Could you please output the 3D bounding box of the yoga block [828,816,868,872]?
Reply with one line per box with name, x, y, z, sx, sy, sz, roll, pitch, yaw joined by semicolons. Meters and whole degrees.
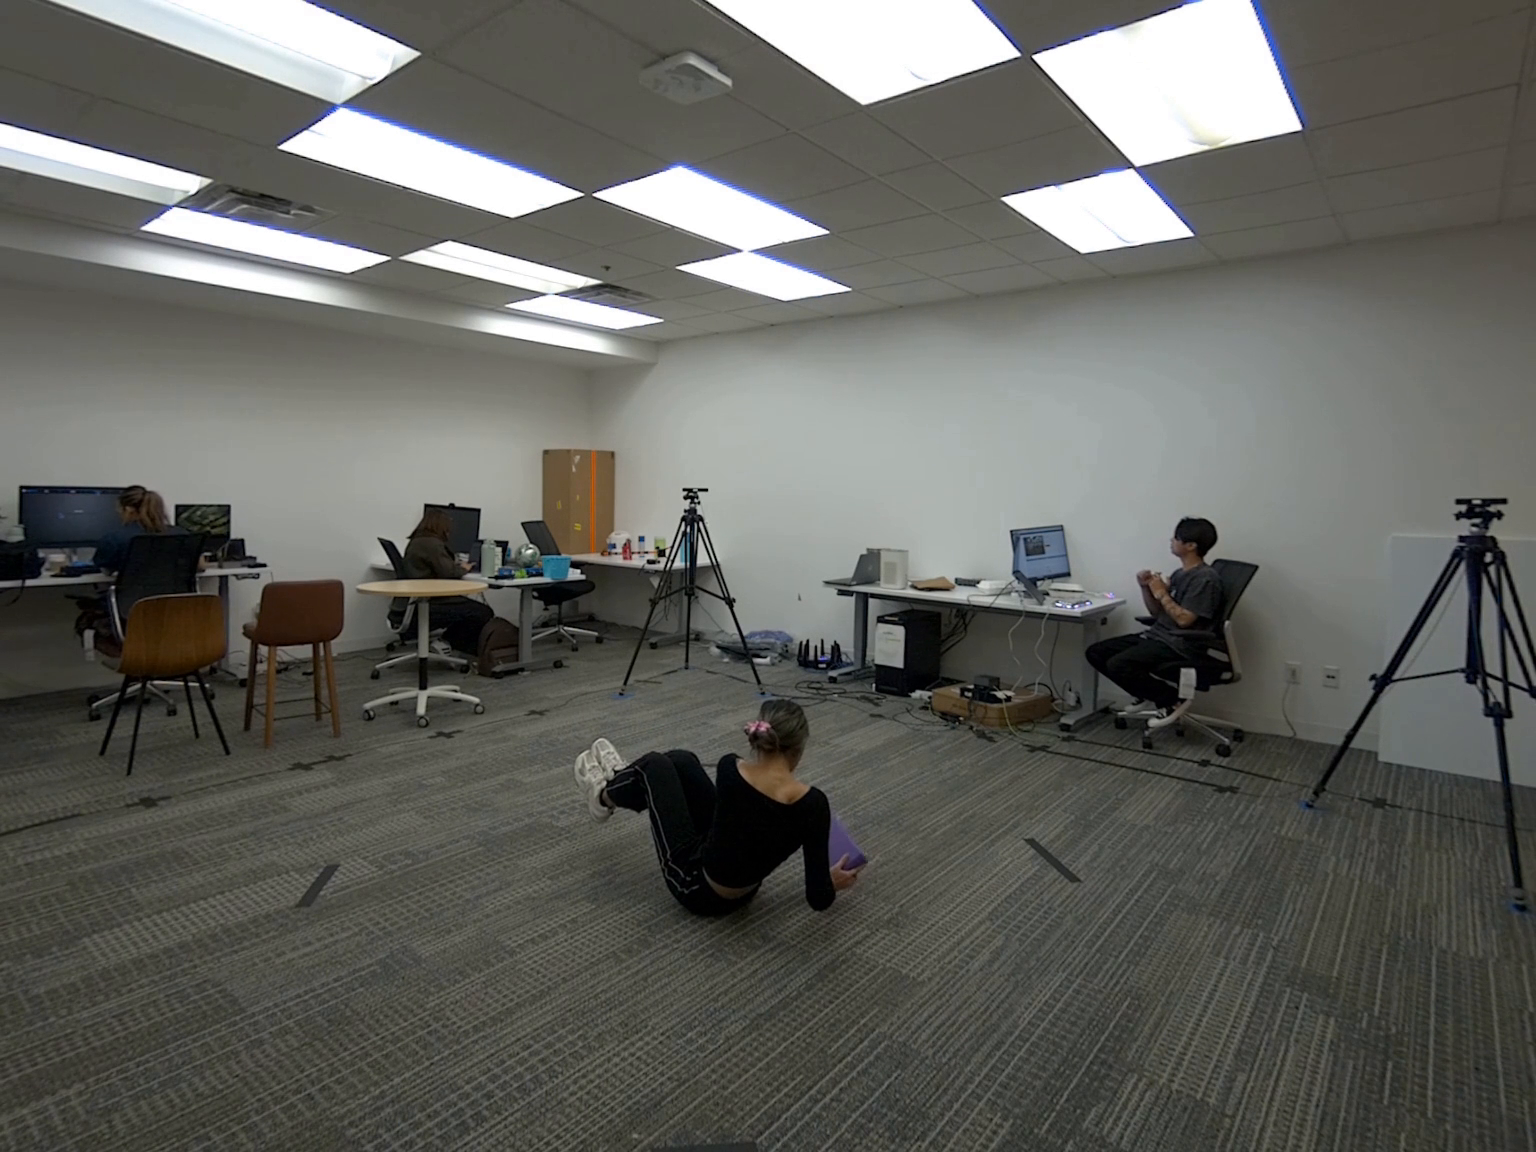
yoga block;0.217;0.930;2.912;0.239;0.149;0.073;43;-10;46
